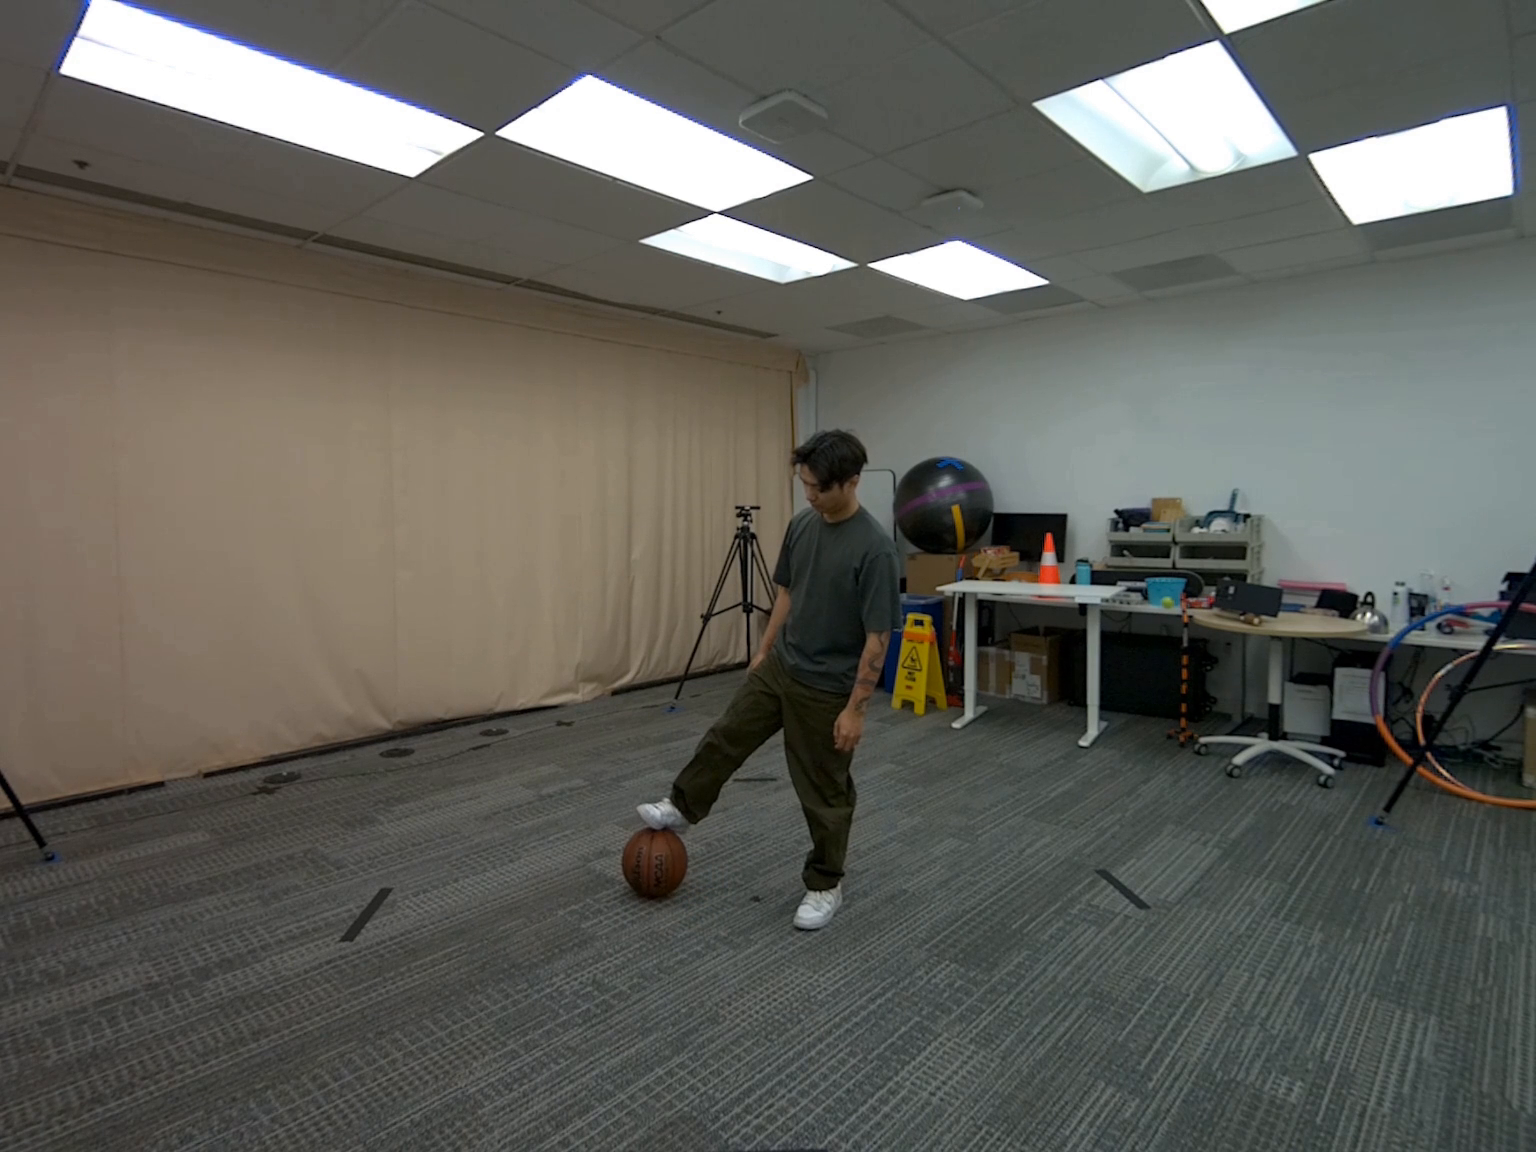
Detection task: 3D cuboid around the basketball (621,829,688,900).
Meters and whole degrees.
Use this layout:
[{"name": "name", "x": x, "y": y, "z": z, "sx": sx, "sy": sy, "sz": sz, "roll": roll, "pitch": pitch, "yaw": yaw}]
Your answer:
[{"name": "basketball", "x": -0.408, "y": 1.025, "z": 3.025, "sx": 0.236, "sy": 0.235, "sz": 0.237, "roll": 0, "pitch": 4, "yaw": -2}]
